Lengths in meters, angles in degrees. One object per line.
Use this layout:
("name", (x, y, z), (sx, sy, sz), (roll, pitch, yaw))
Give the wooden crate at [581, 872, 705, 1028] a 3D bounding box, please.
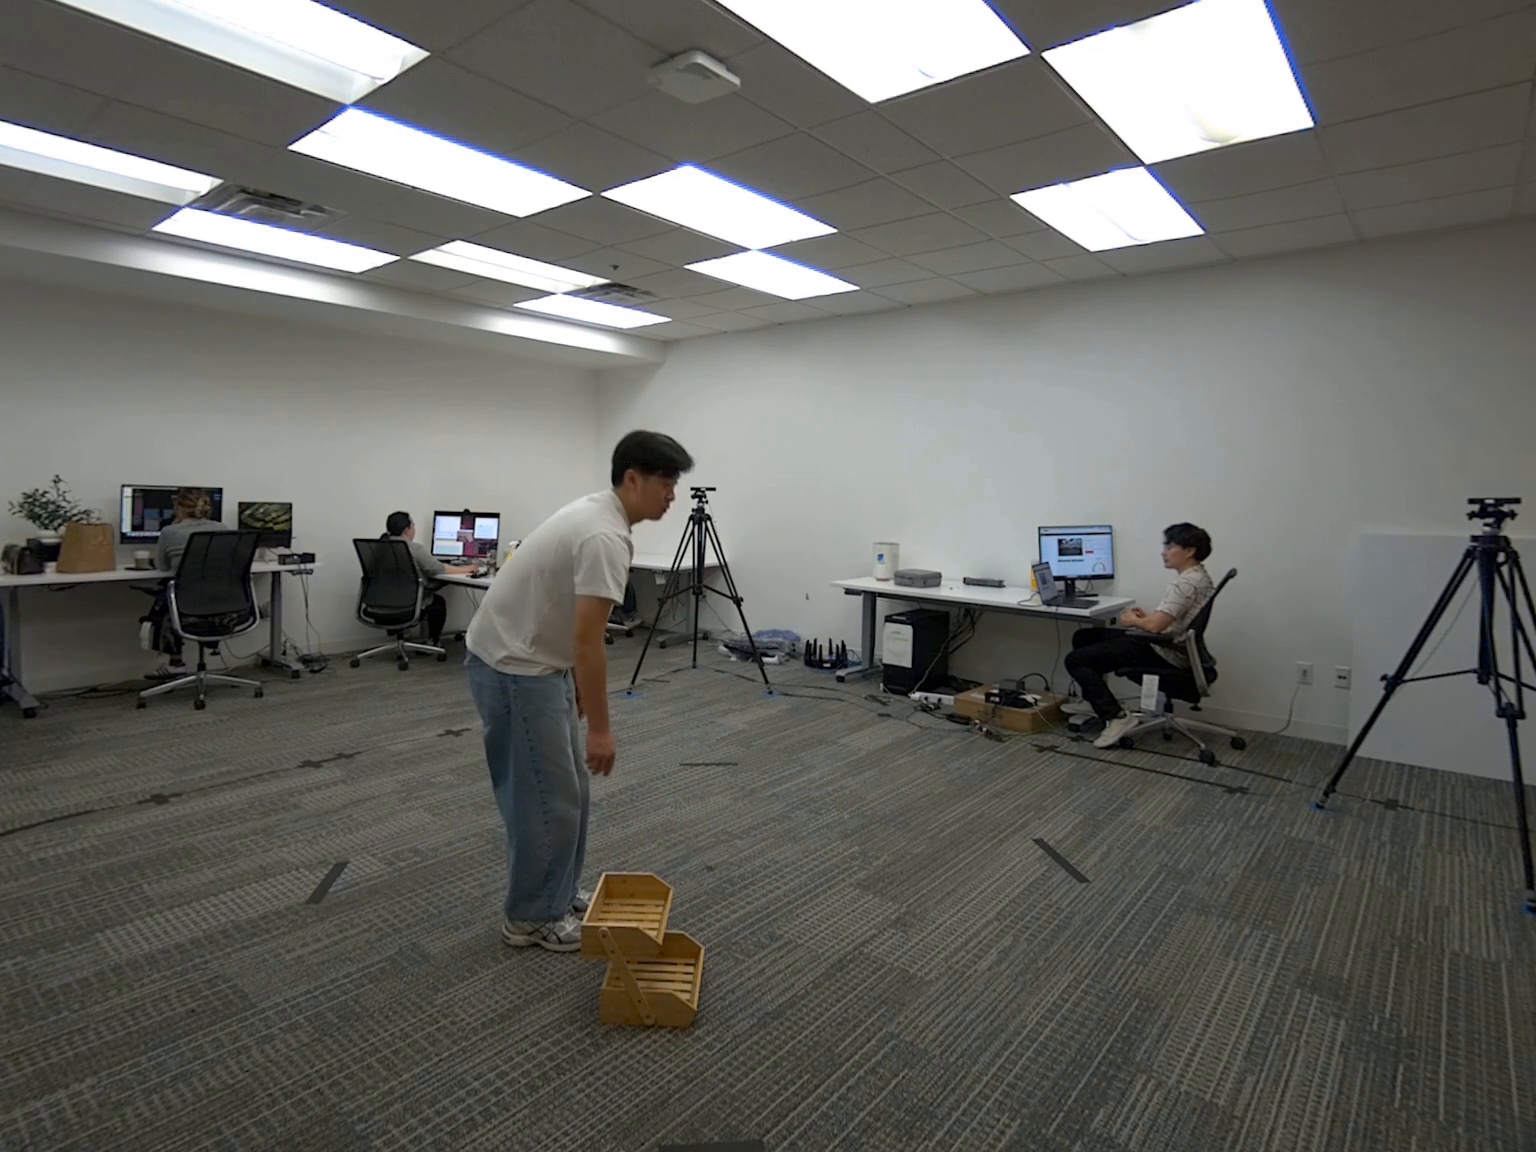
("wooden crate", (-0.334, 1.011, 2.324), (0.303, 0.272, 0.325), (0, 5, 1))
